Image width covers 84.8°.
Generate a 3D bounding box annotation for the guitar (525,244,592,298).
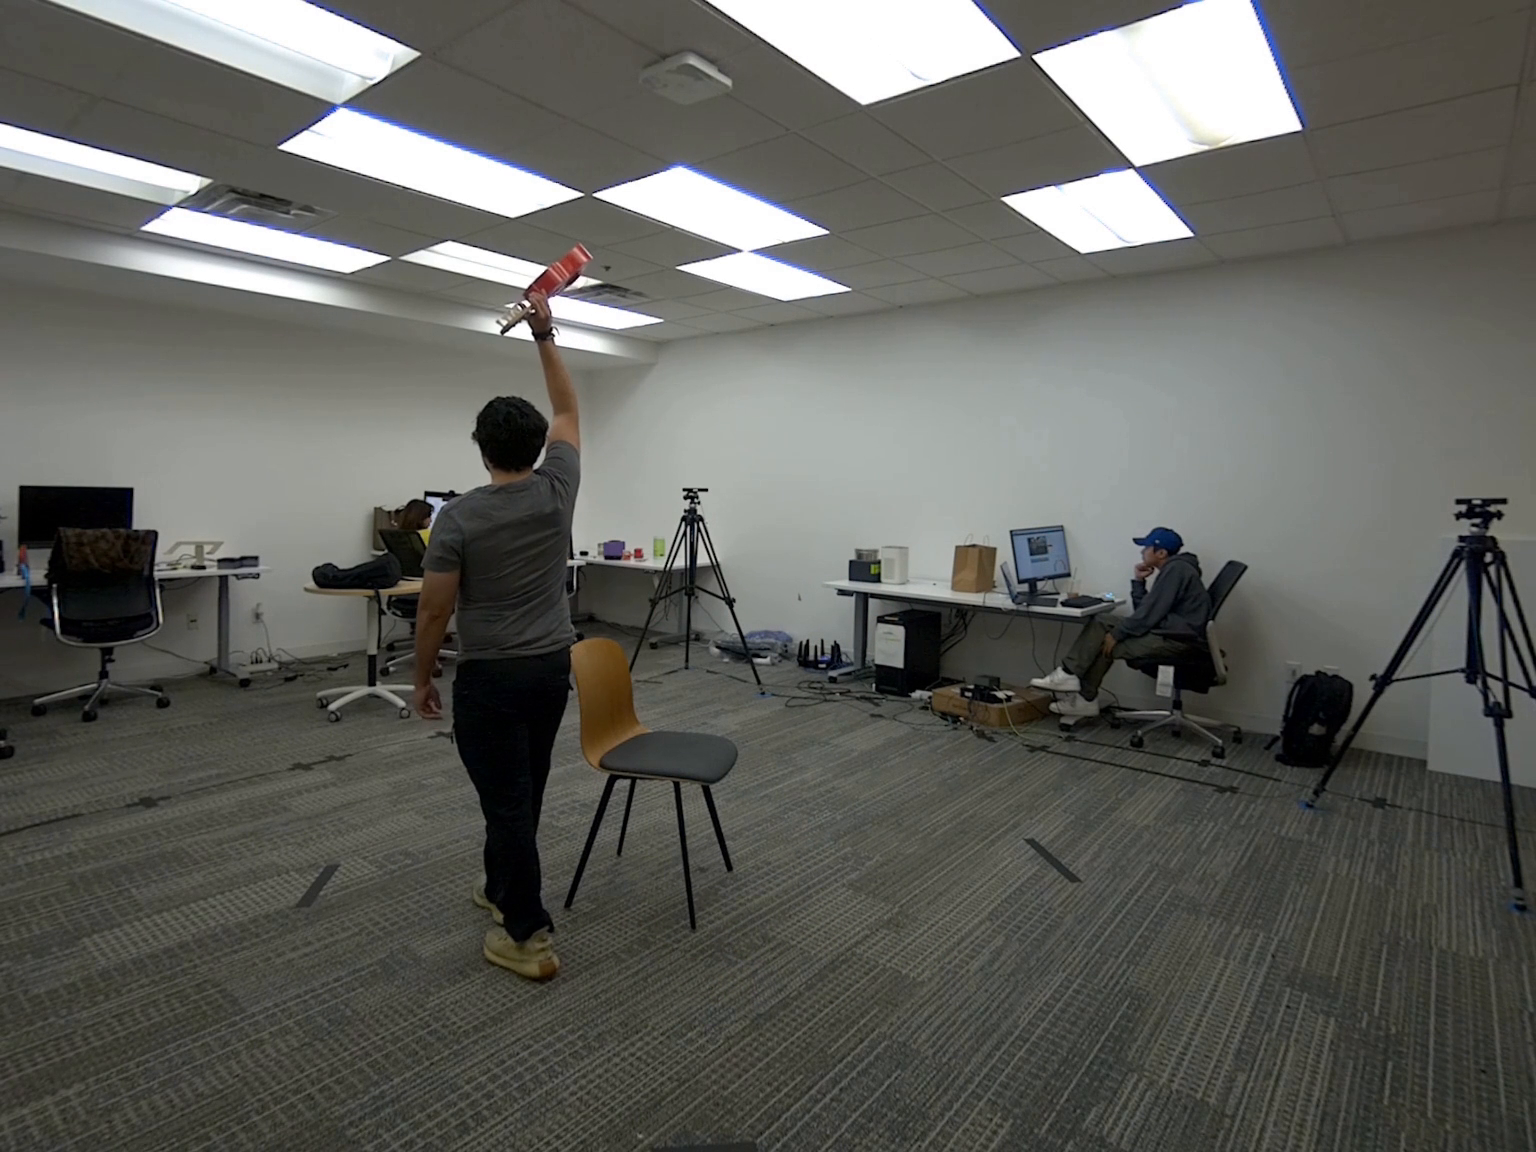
[{"bbox_3d":[-0.698,-0.896,2.624,0.194,0.069,0.504,-34,19,30],"label":"guitar"}]
